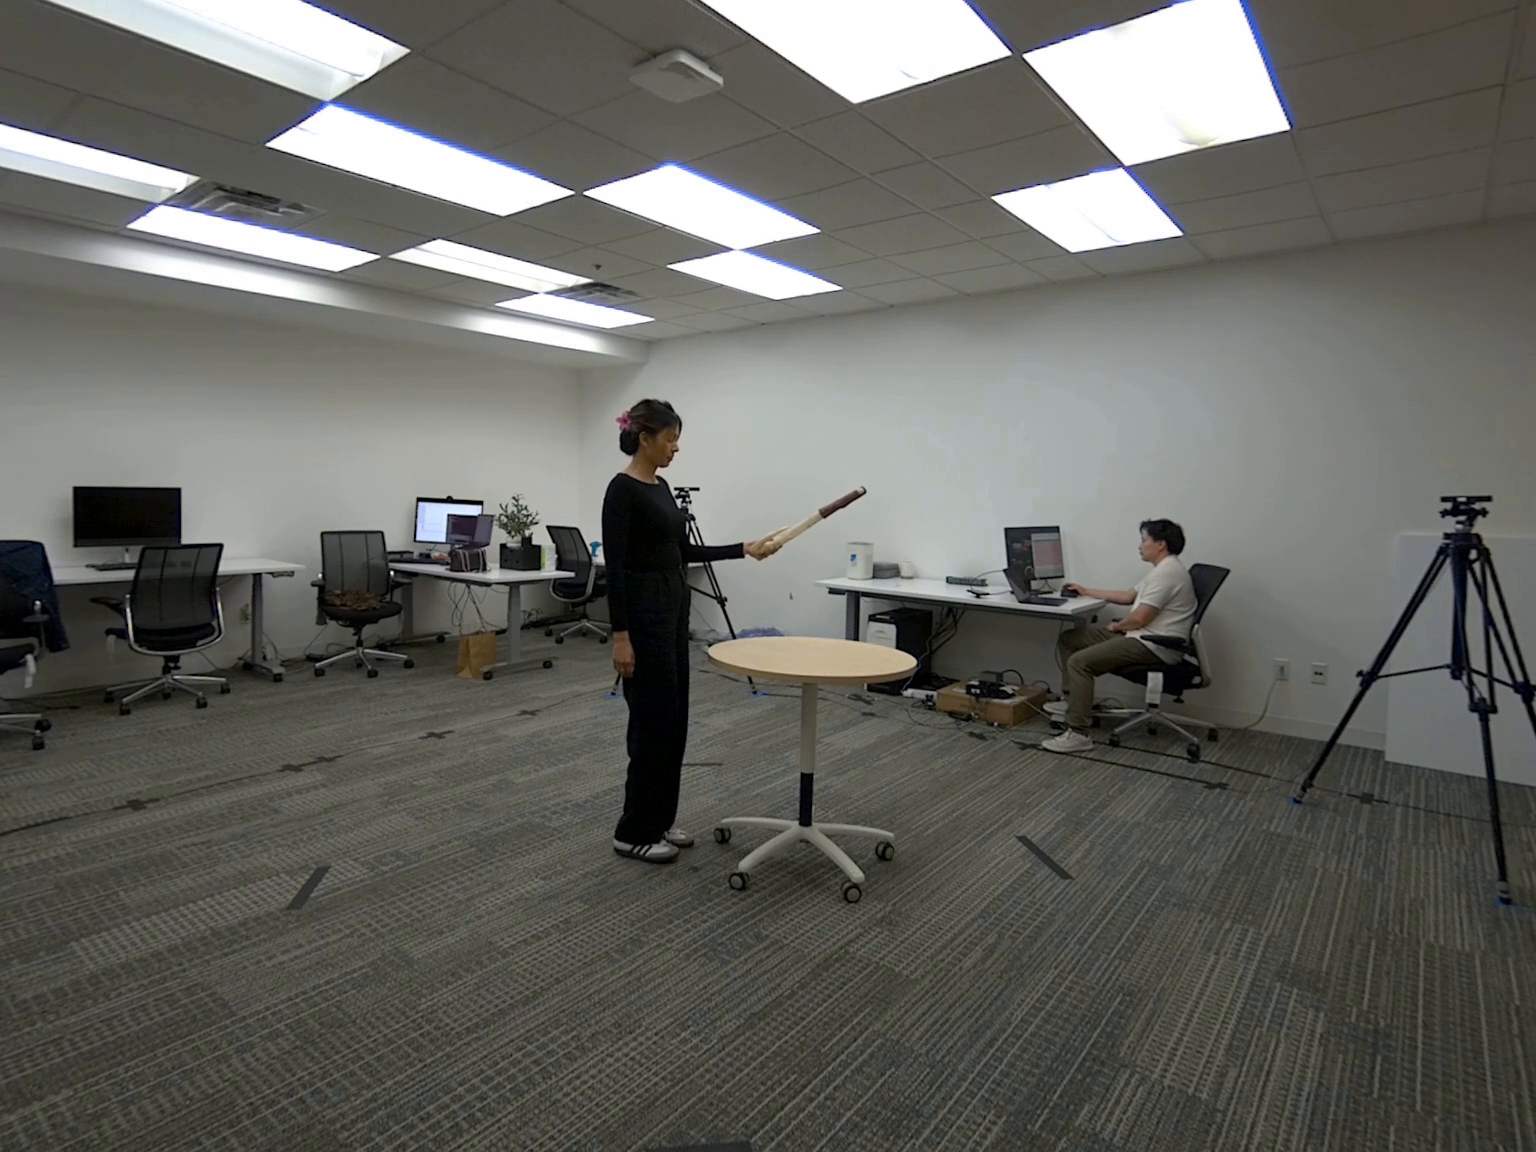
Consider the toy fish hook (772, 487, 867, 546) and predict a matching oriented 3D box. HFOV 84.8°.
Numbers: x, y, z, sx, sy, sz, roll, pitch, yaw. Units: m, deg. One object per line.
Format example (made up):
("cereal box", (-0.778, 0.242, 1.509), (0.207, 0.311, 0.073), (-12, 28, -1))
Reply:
("toy fish hook", (0.141, -0.218, 3.343), (0.509, 0.049, 0.220), (-32, -8, 13))
